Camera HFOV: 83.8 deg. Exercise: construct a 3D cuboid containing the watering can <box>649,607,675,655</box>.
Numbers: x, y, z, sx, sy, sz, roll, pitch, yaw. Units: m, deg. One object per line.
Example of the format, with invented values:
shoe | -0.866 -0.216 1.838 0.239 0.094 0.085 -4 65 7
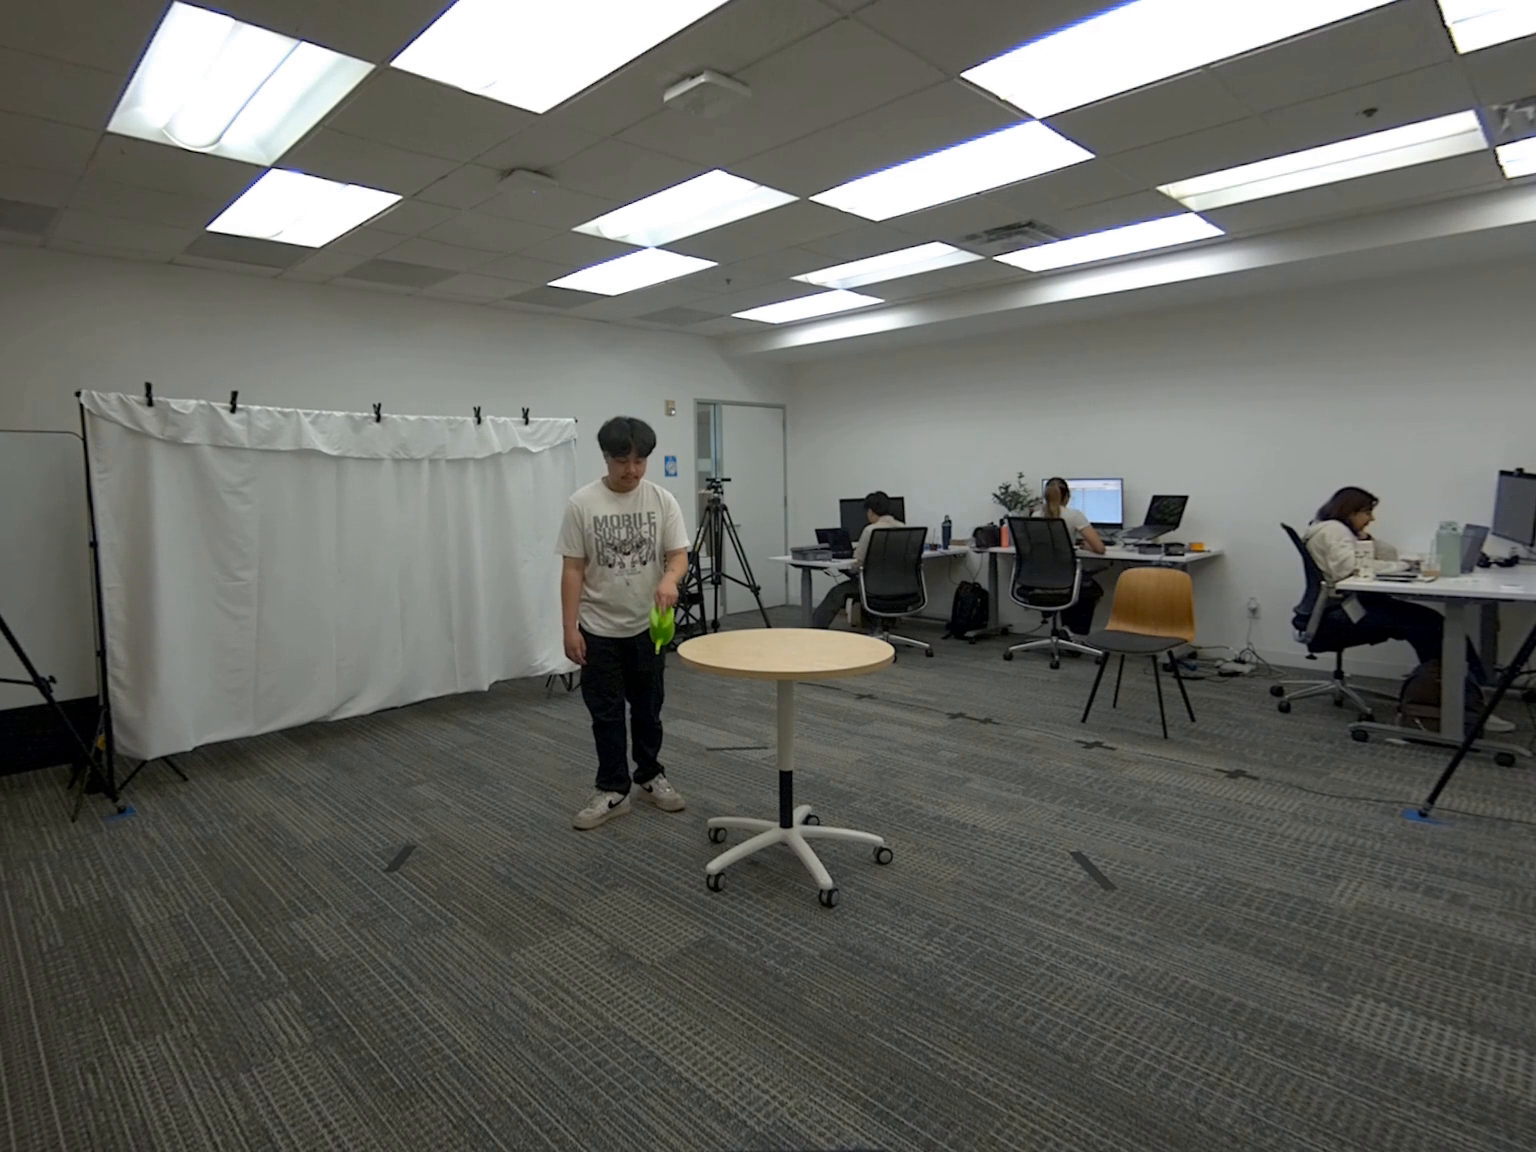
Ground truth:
watering can | -0.416 0.210 3.292 0.098 0.283 0.172 10 -35 3
